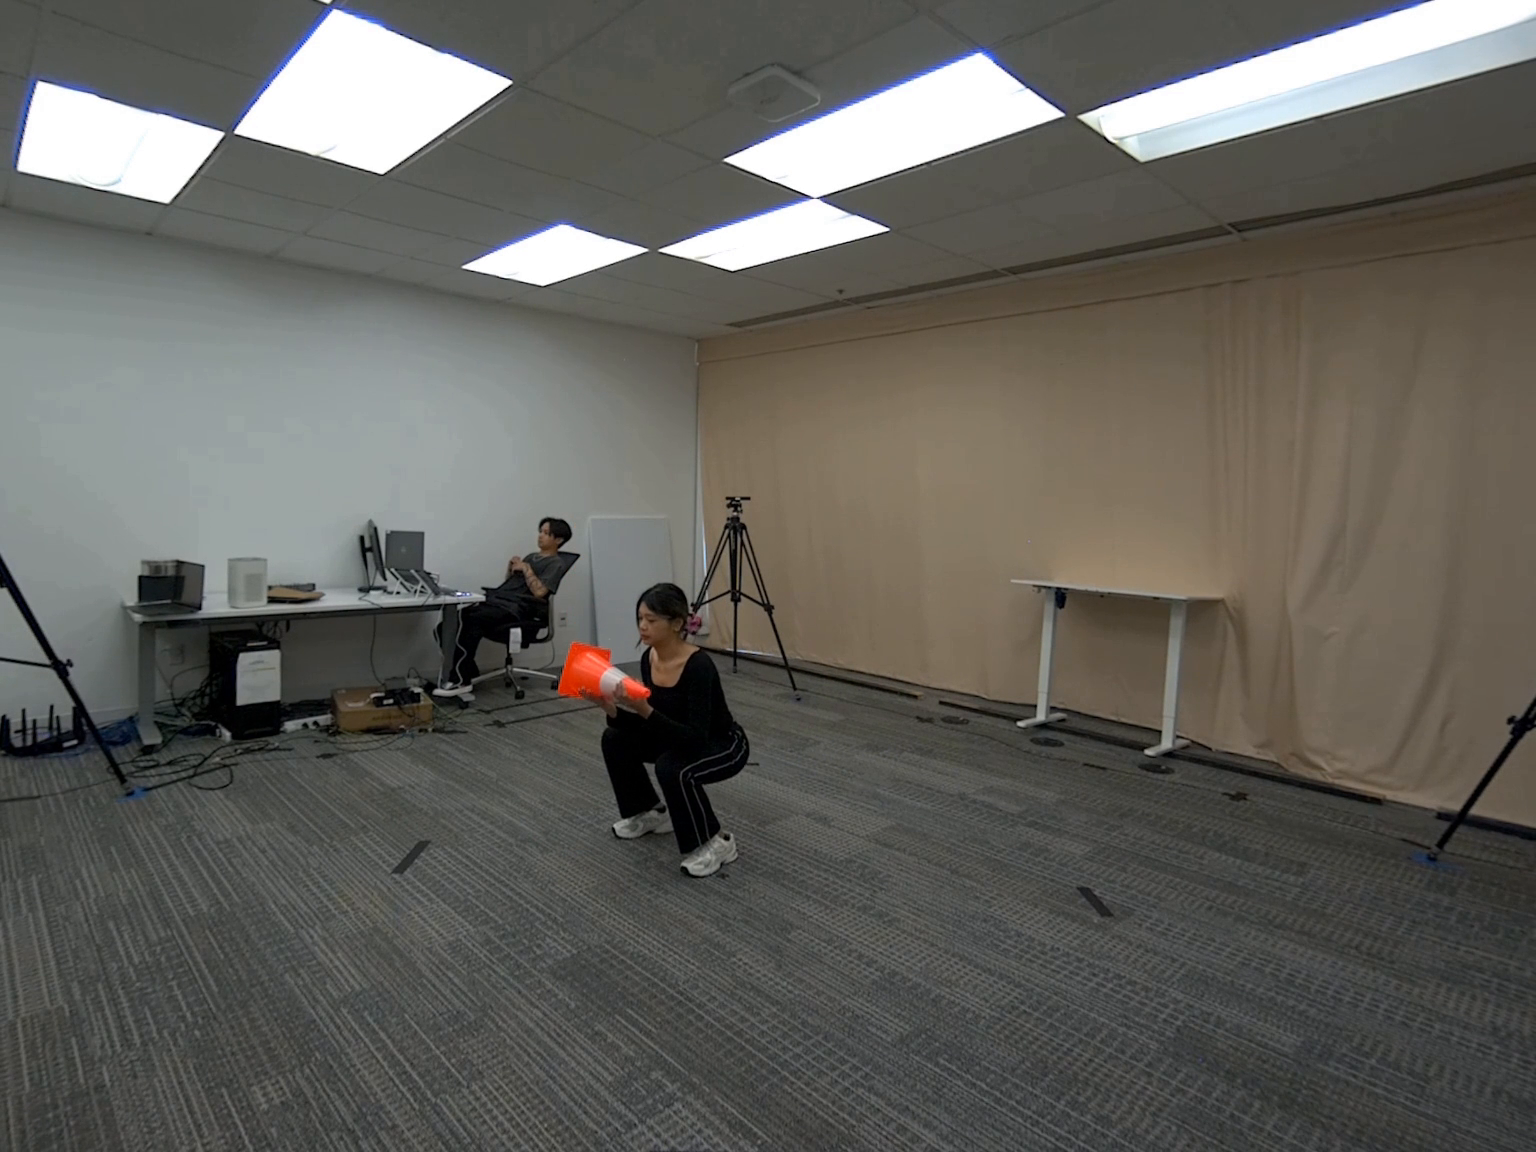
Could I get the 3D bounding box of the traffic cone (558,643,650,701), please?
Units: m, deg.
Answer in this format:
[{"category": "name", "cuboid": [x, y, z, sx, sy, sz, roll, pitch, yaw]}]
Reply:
[{"category": "traffic cone", "cuboid": [-0.559, 0.379, 3.044, 0.394, 0.206, 0.197, 10, -11, 44]}]
